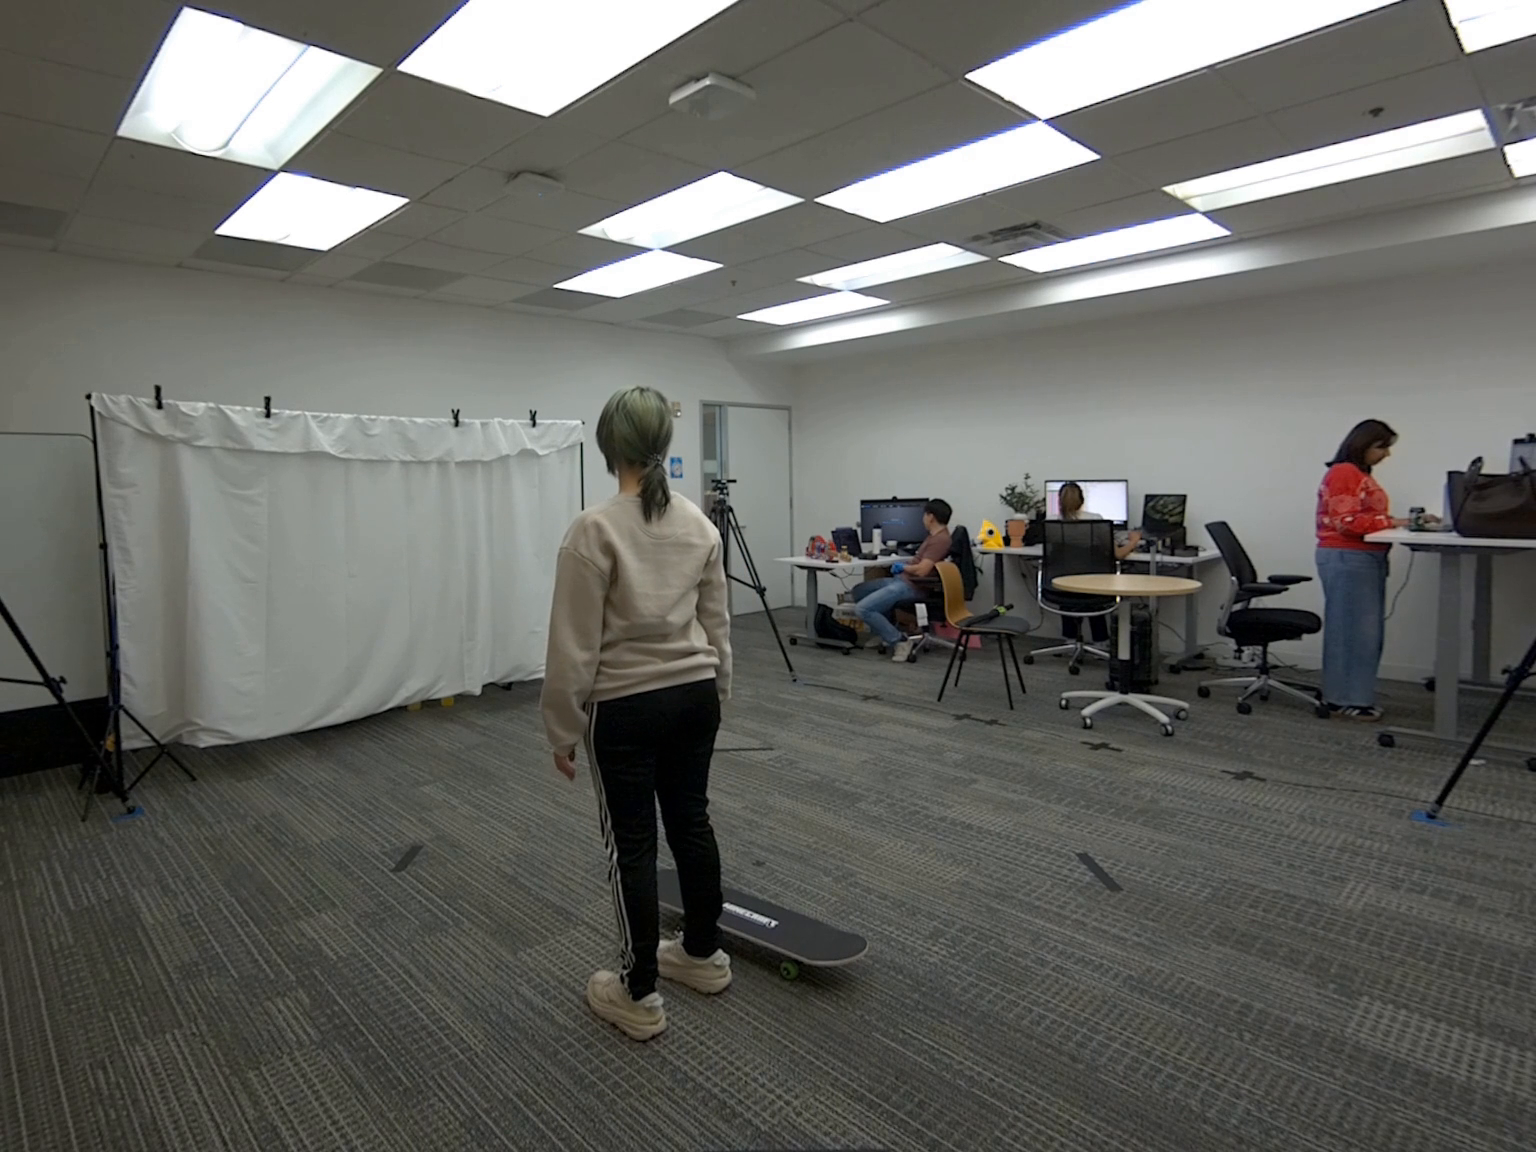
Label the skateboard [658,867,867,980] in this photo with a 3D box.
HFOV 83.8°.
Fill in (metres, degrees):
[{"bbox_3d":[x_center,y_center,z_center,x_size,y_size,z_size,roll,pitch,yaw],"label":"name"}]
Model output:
[{"bbox_3d":[-0.056,1.055,2.568,0.809,0.110,0.189,4,9,37],"label":"skateboard"}]
